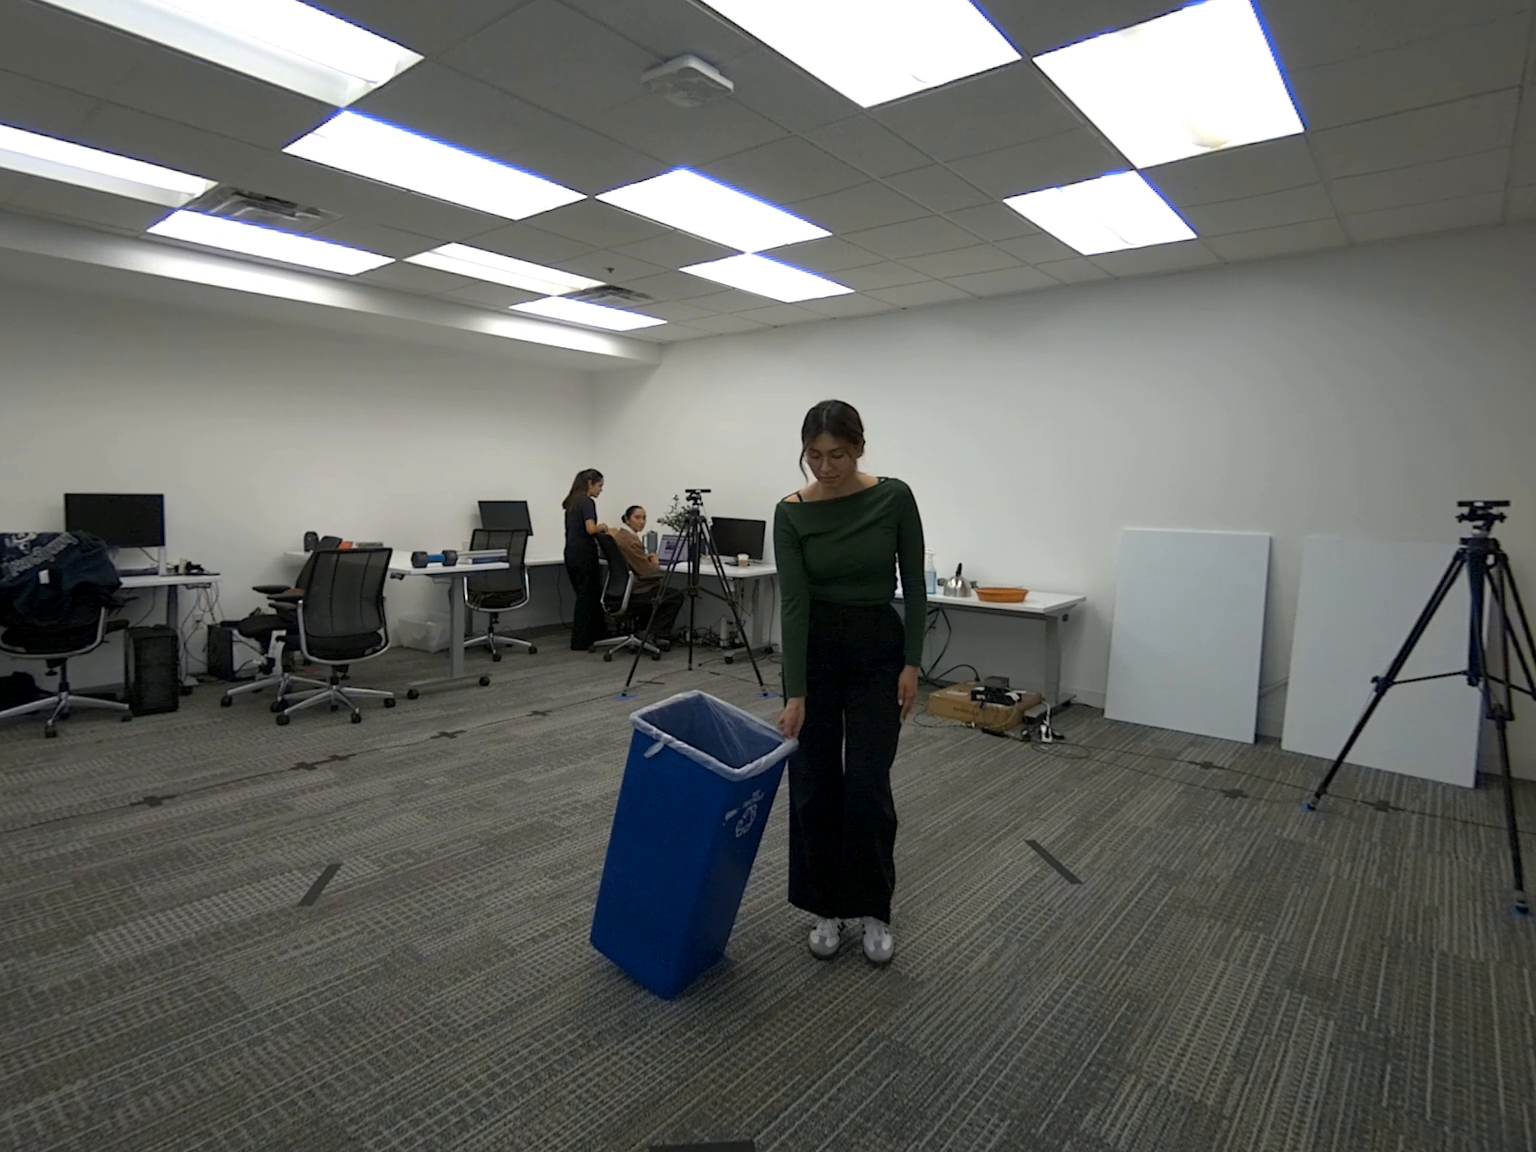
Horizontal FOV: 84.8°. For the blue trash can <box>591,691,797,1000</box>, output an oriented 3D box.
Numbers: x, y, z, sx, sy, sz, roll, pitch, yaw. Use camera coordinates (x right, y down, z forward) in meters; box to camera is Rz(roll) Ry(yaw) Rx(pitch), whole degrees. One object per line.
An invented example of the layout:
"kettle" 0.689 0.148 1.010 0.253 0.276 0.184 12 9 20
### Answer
"blue trash can" -0.249 0.755 2.431 0.386 0.708 0.368 21 12 26
